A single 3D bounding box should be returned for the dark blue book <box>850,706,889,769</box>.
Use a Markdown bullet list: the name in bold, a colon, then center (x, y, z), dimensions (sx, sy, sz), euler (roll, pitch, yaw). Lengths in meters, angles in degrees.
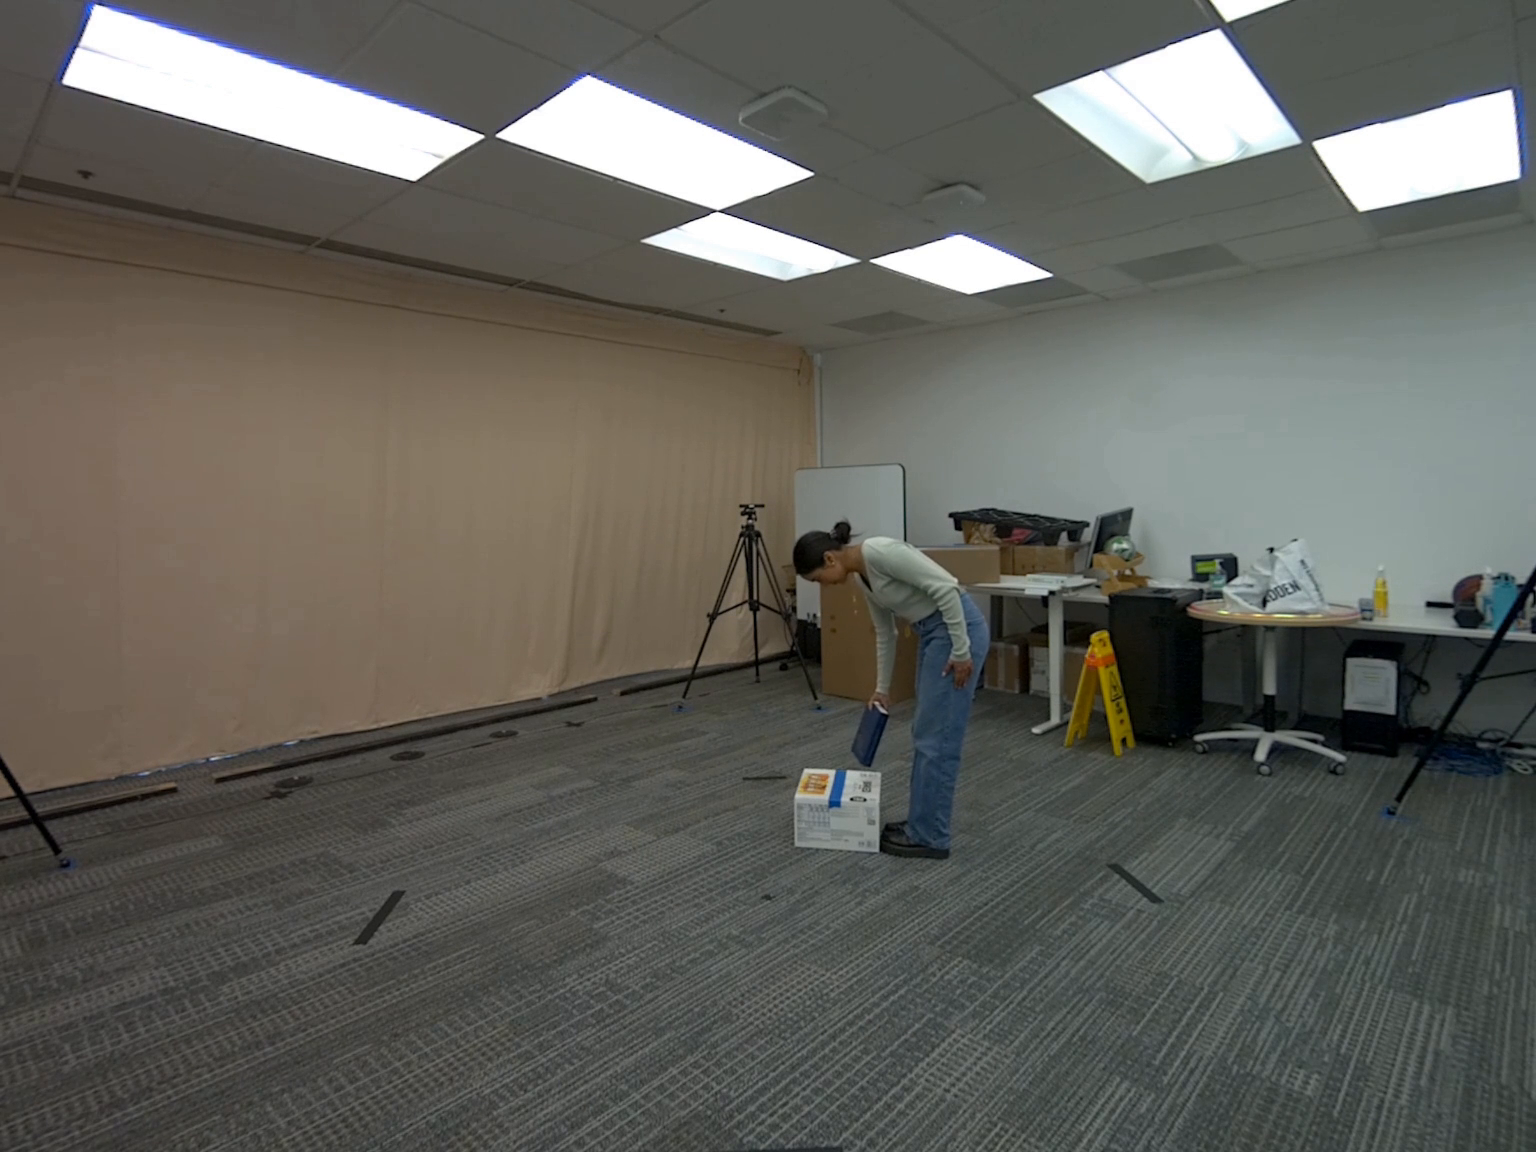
- **dark blue book**: center (0.443, 0.663, 3.581), dimensions (0.044, 0.244, 0.166), euler (12, 9, -15)
